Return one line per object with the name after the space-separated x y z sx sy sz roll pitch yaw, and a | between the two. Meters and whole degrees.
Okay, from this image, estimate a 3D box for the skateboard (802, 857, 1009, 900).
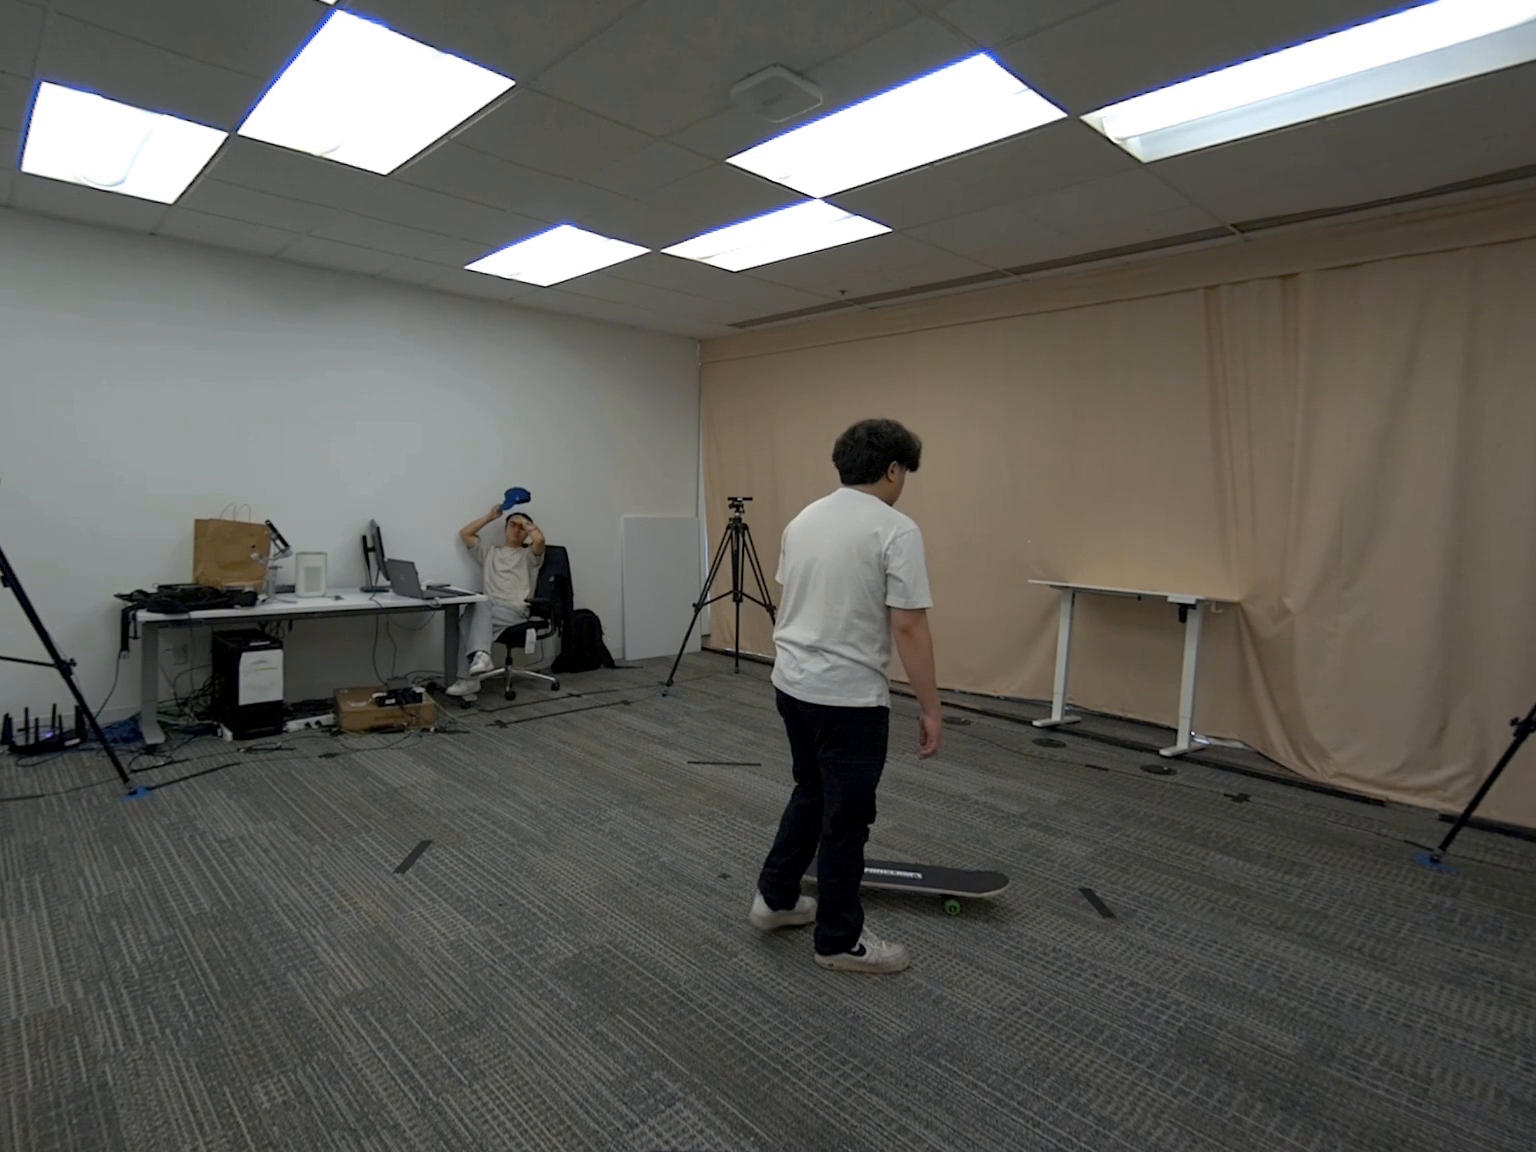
0.436 1.083 2.959 0.792 0.110 0.192 2 5 9 | skateboard
